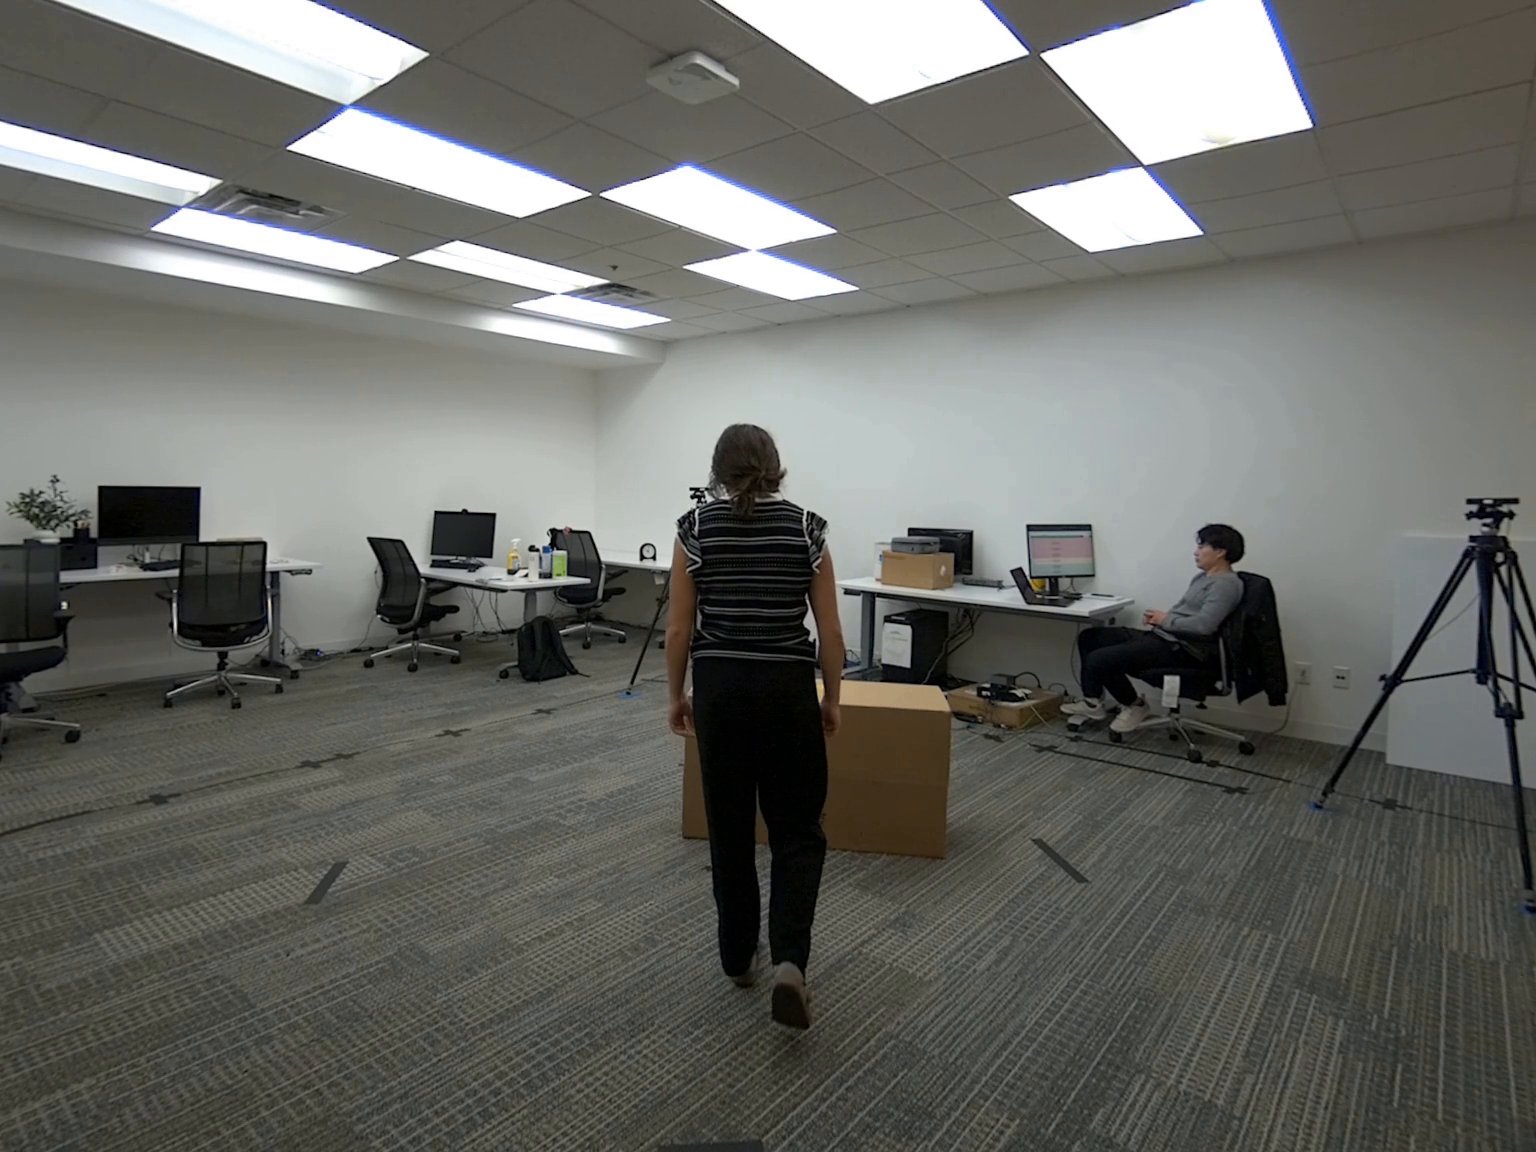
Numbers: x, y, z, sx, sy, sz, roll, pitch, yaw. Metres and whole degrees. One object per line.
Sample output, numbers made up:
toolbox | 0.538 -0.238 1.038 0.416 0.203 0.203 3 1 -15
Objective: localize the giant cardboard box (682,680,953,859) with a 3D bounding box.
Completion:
giant cardboard box | 0.189 0.747 3.503 1.035 0.576 0.424 2 4 7
